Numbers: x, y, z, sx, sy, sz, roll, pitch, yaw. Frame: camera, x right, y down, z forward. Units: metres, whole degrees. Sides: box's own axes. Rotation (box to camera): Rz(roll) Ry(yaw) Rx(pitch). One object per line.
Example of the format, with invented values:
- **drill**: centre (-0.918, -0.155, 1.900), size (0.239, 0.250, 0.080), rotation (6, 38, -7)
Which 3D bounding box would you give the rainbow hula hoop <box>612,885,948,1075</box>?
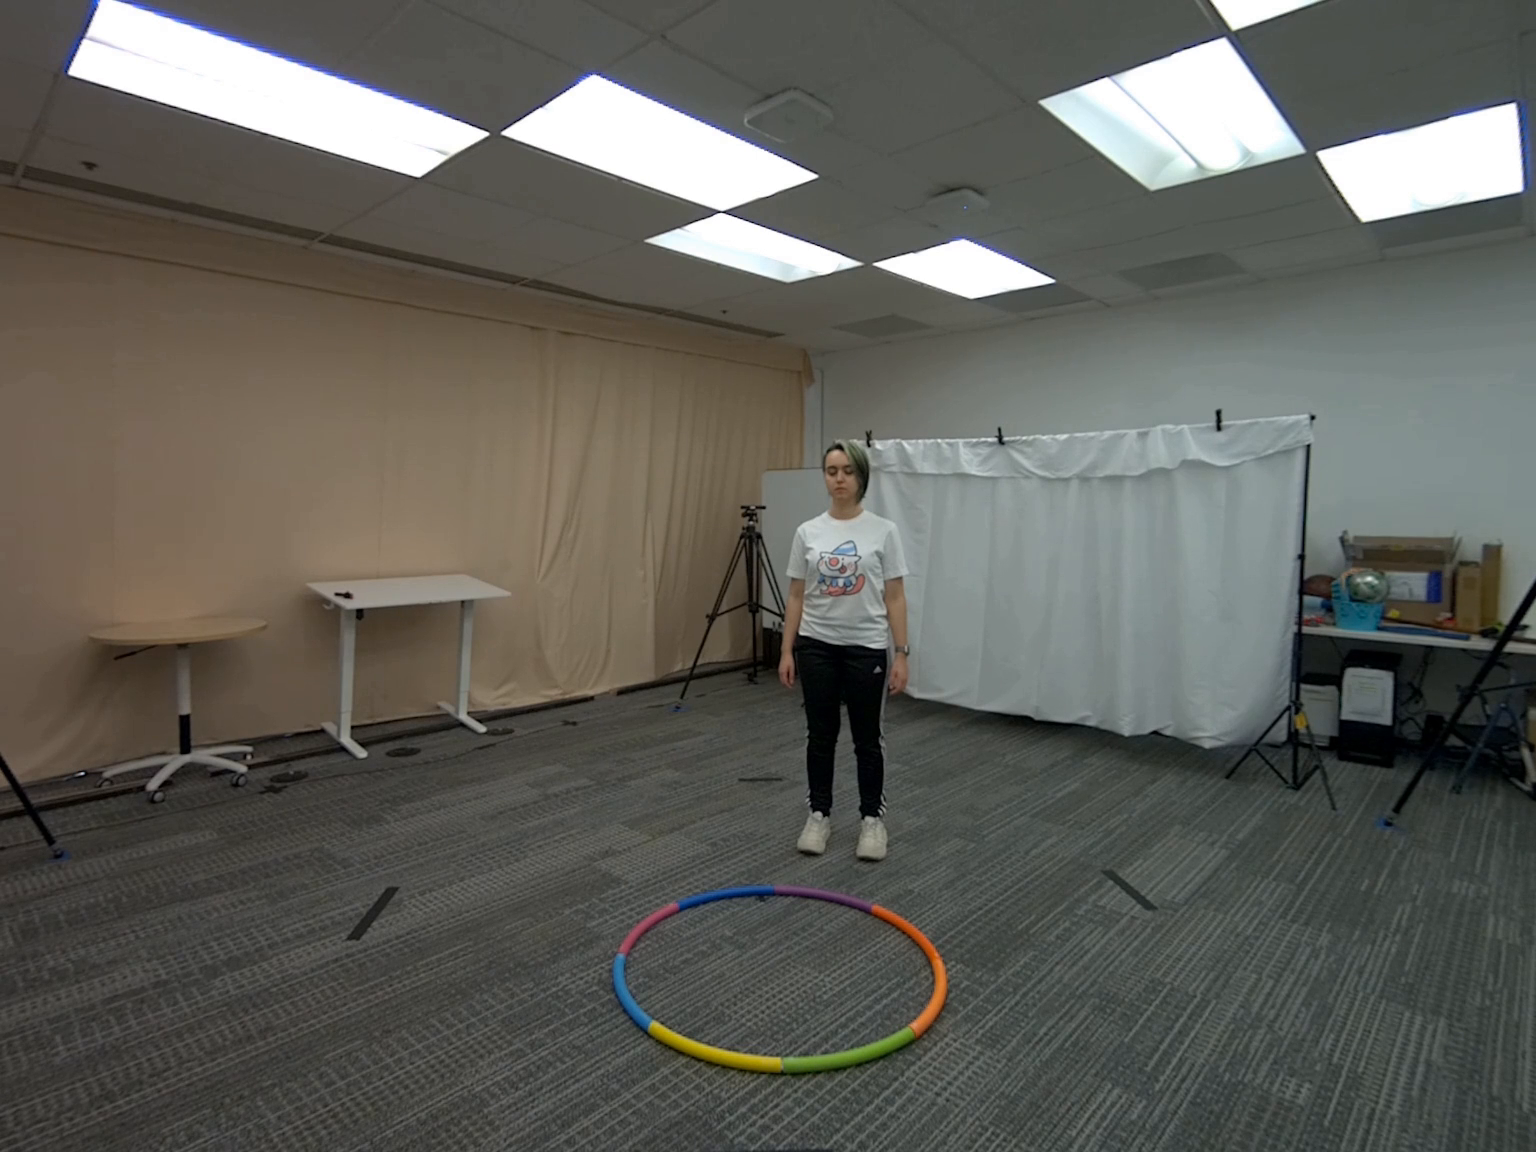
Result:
- **rainbow hula hoop**: centre (0.033, 1.150, 2.547), size (0.978, 0.035, 0.982), rotation (0, 4, -2)
